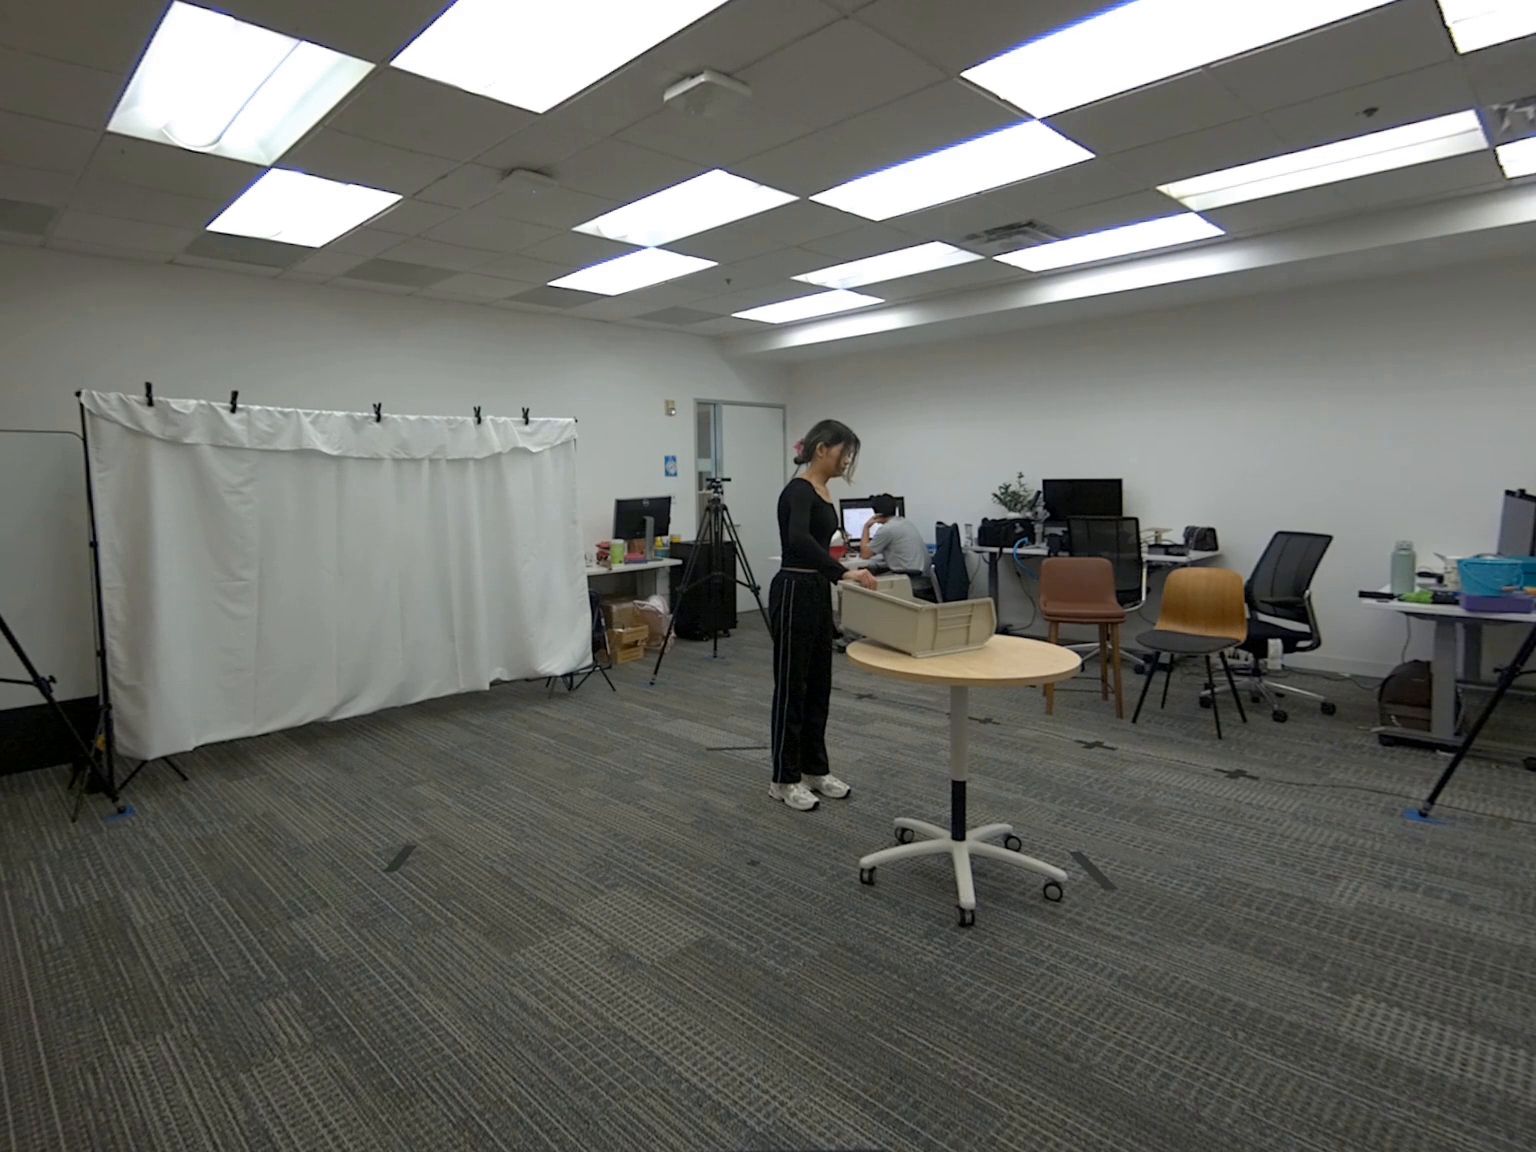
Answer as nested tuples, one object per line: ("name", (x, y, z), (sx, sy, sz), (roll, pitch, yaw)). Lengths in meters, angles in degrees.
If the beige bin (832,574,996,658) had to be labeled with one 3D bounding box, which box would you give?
("beige bin", (0.524, 0.131, 3.061), (0.368, 0.187, 0.436), (-6, 14, -32))
